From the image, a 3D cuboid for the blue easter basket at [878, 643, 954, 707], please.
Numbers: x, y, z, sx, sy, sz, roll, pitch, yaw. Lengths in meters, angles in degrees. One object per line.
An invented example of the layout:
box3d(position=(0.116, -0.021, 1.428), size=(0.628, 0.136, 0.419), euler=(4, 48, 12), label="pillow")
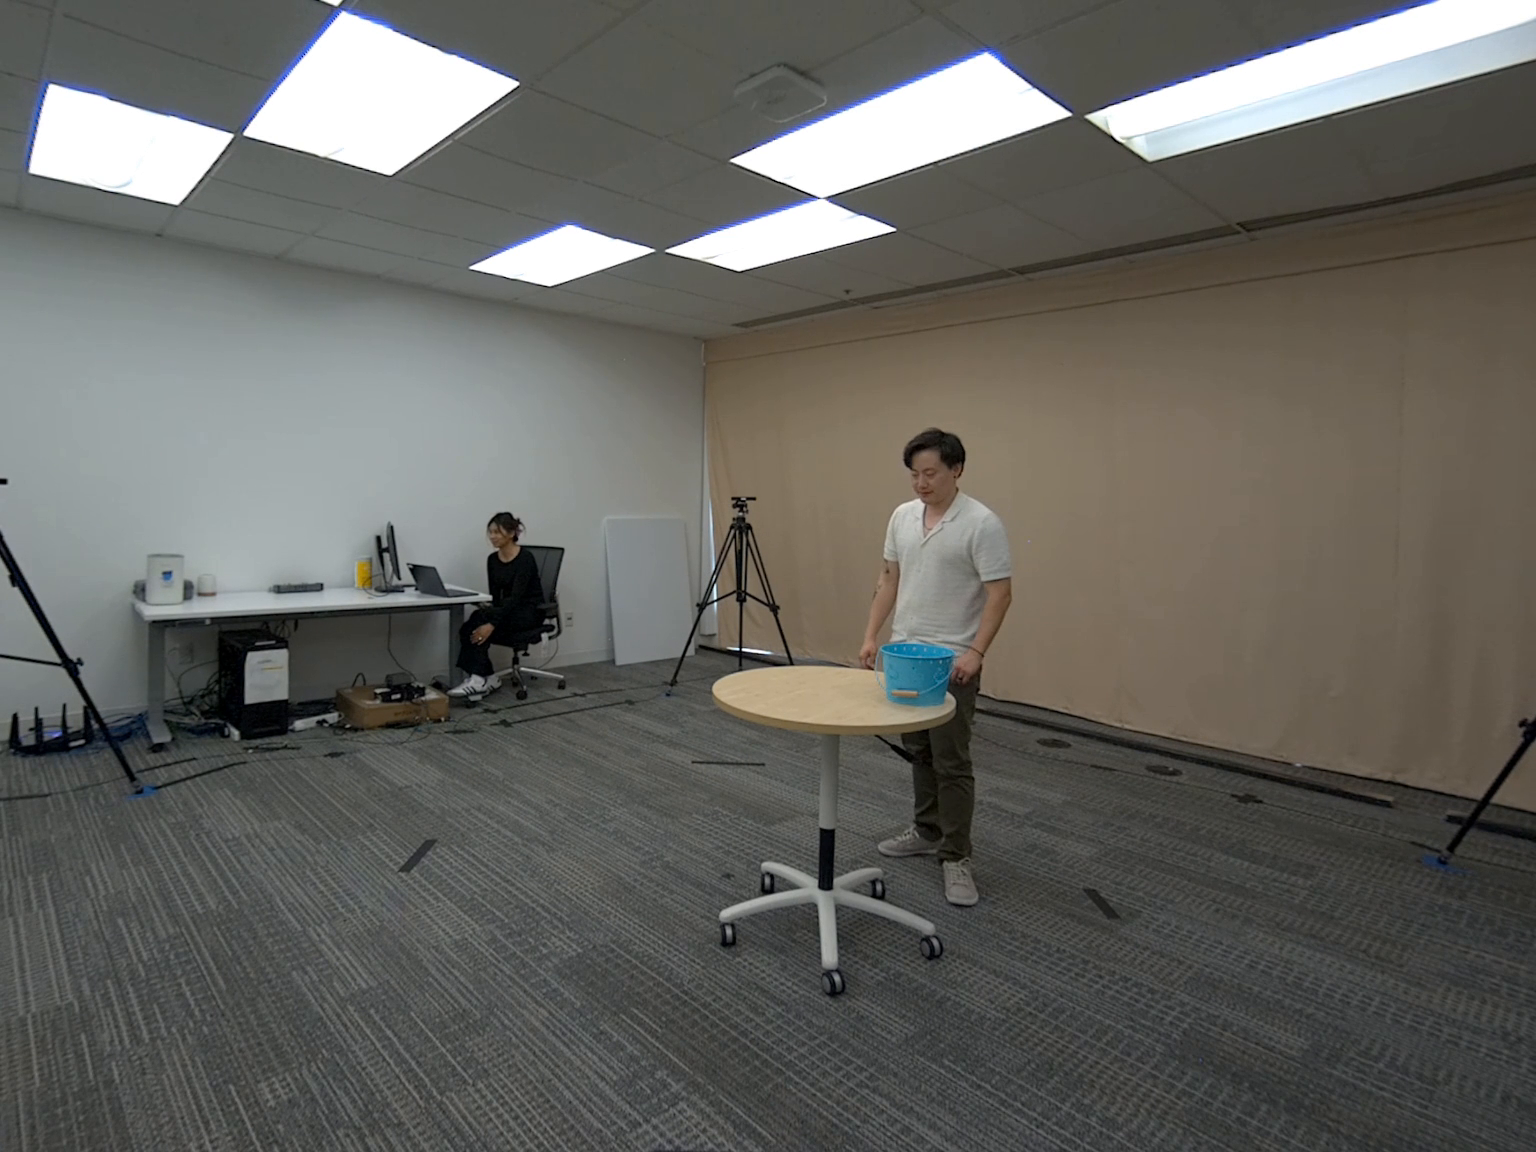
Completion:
box3d(position=(0.459, 0.311, 2.618), size=(0.243, 0.155, 0.244), euler=(3, 5, -2), label="blue easter basket")
